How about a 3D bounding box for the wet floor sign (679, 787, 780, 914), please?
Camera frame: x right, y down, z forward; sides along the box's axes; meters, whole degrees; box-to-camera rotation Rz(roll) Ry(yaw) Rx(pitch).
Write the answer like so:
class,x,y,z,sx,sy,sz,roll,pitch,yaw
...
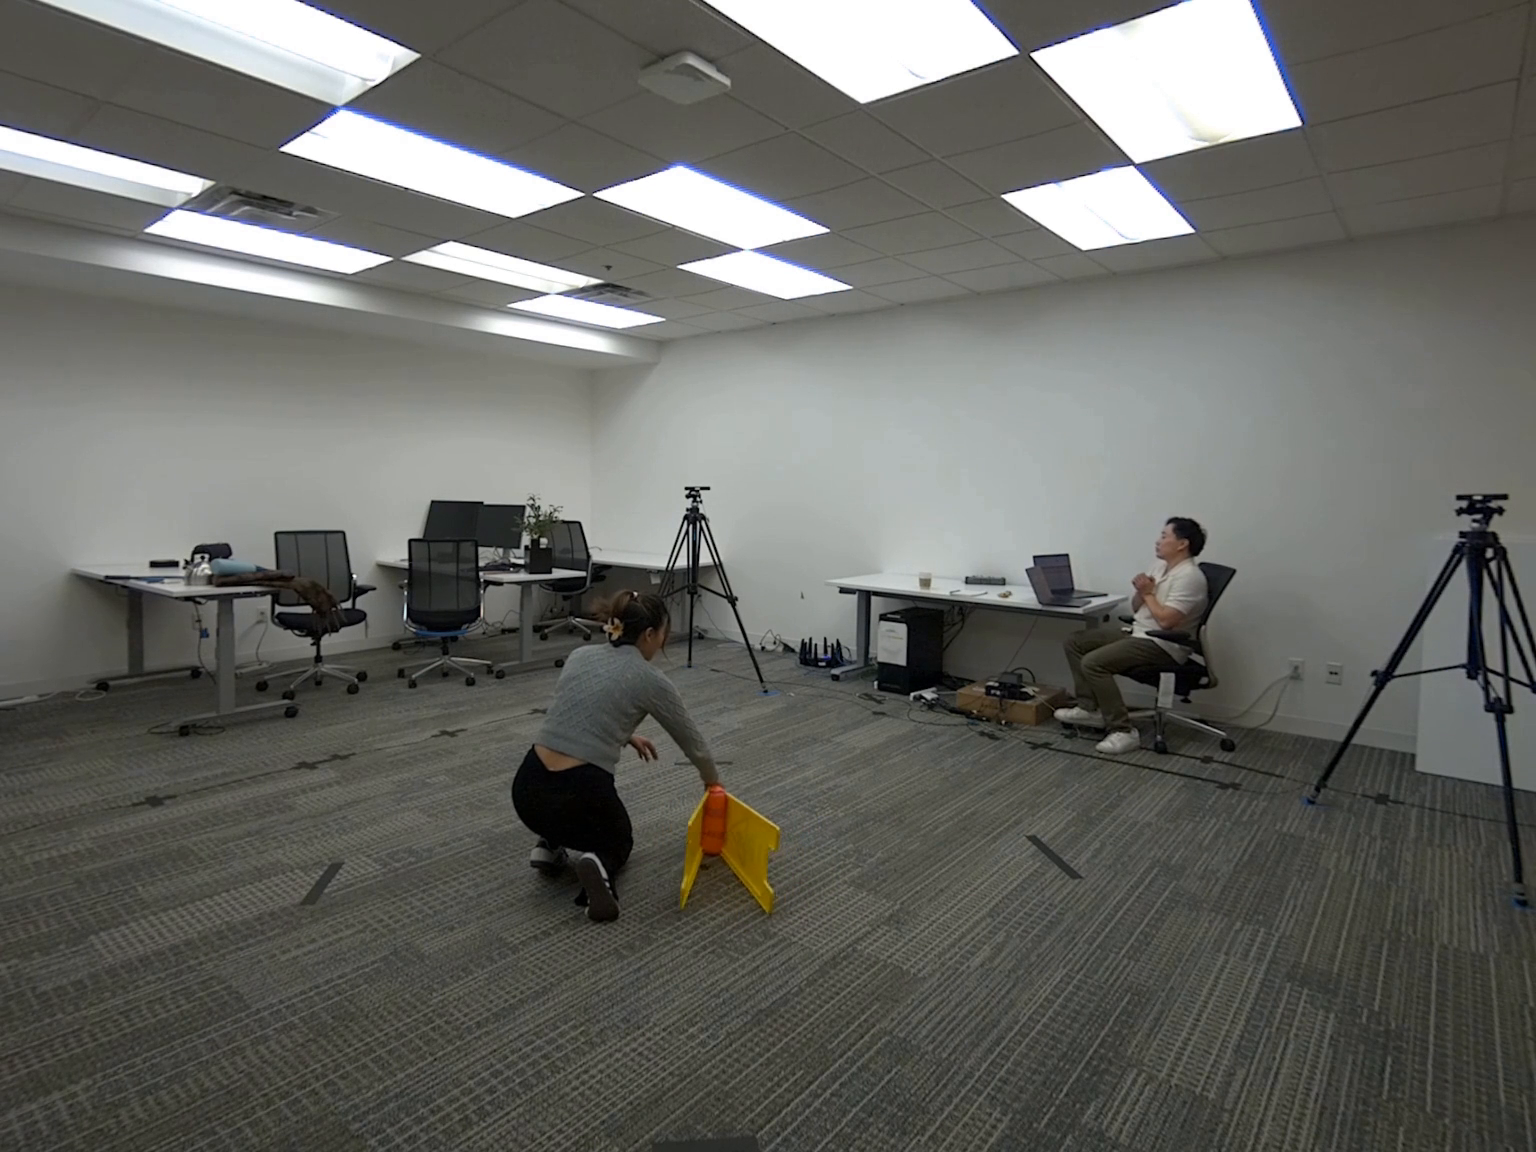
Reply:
class,x,y,z,sx,sy,sz,roll,pitch,yaw
wet floor sign,-0.178,0.935,3.082,0.287,0.282,0.651,6,1,-9
